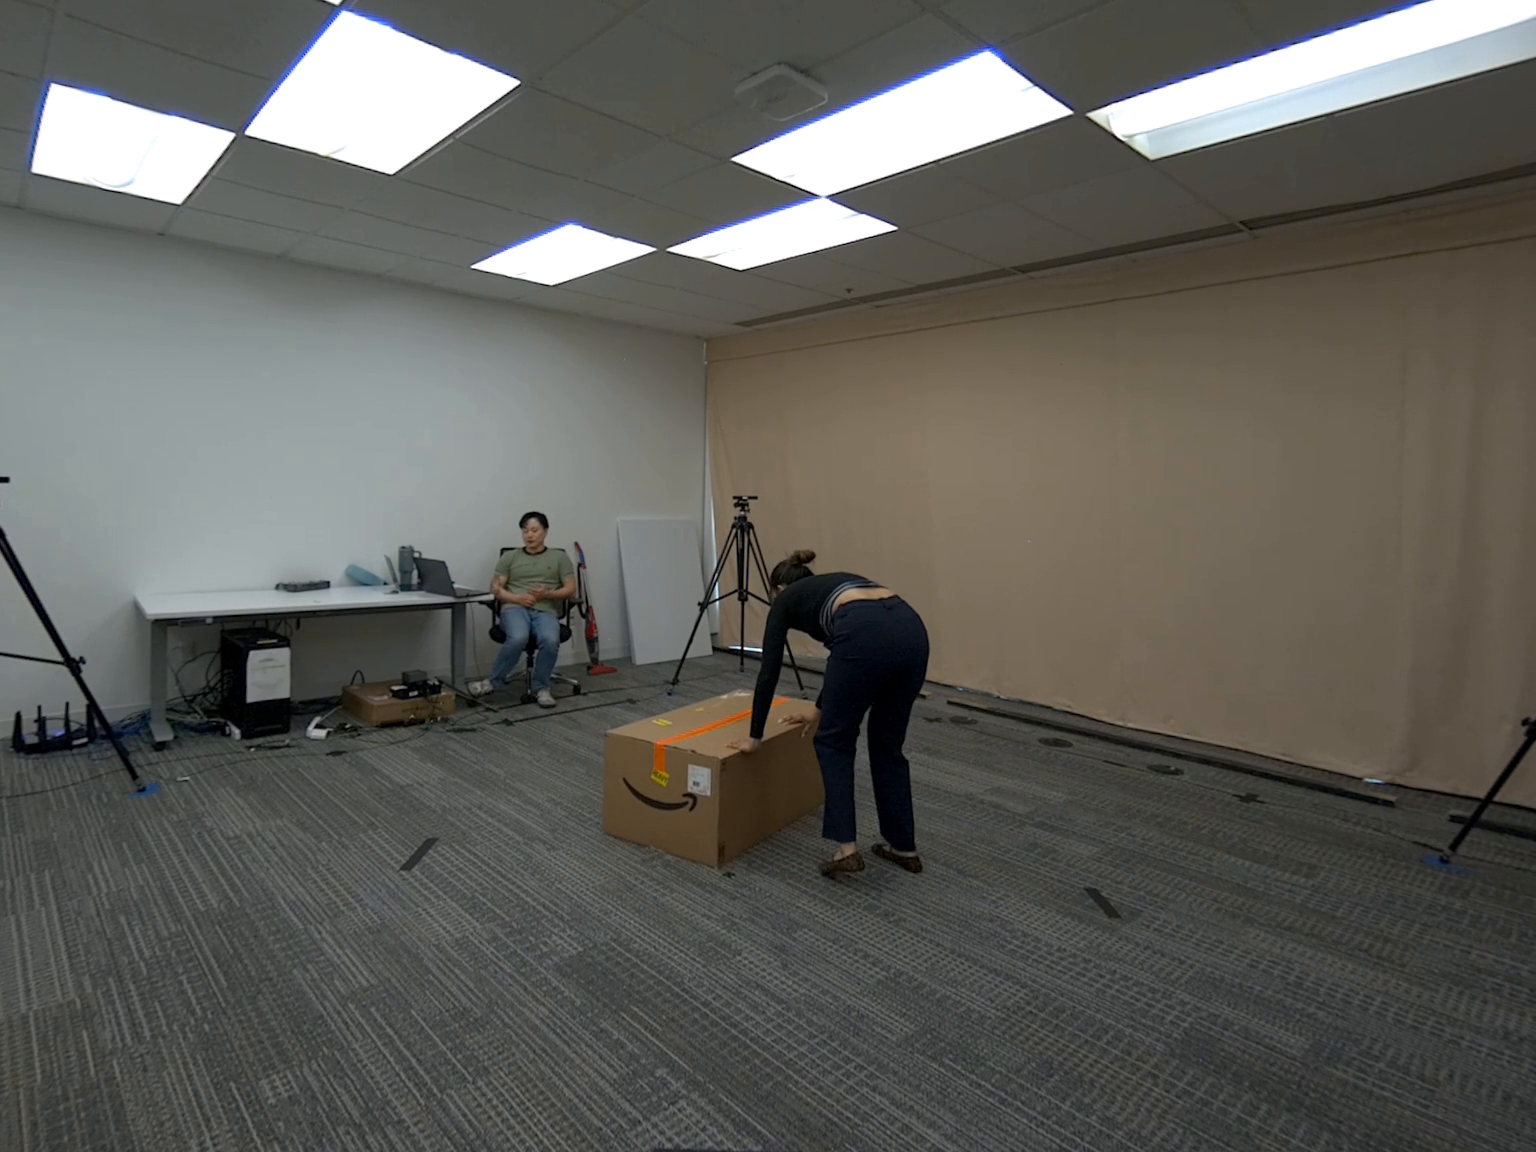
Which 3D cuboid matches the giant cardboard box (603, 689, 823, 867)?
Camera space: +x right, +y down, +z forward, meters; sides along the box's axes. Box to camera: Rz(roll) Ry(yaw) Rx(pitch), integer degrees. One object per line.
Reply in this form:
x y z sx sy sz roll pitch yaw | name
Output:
-0.175 0.835 3.717 0.591 0.425 1.005 6 6 31 | giant cardboard box
